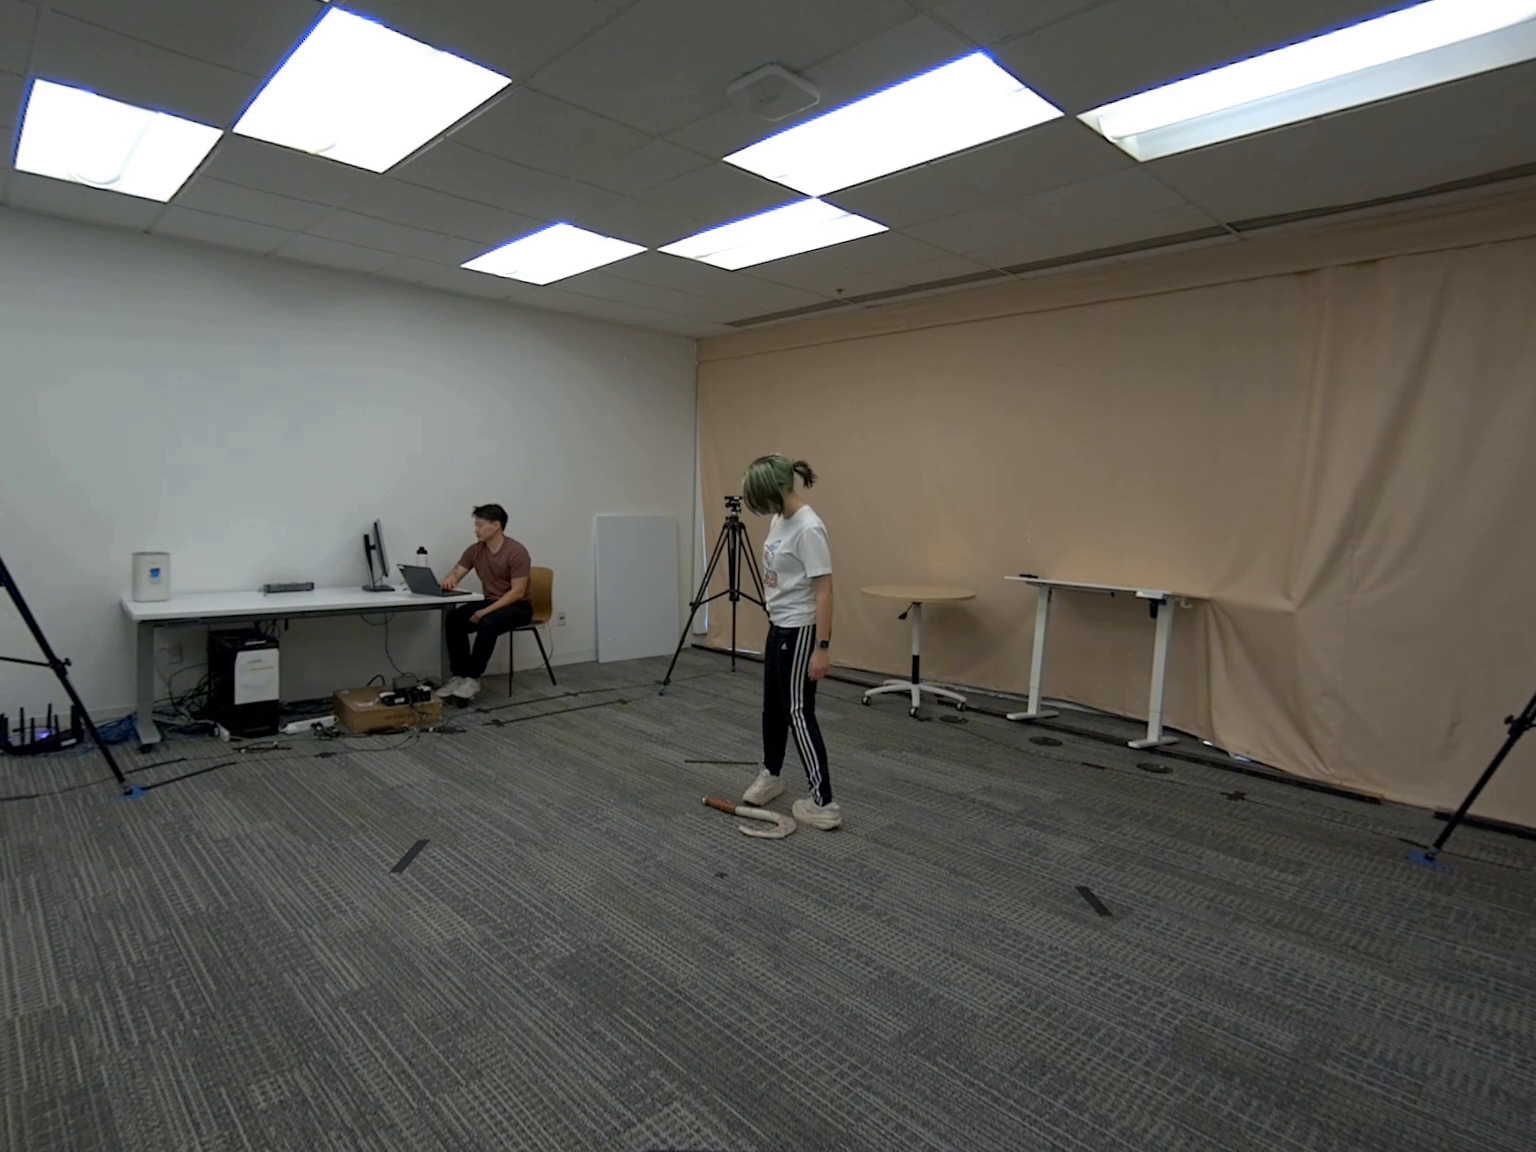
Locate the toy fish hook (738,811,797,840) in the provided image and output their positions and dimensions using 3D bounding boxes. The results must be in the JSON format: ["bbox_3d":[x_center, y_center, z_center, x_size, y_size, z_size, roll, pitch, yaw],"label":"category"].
[{"bbox_3d":[-0.123,1.035,3.630,0.519,0.048,0.220,5,5,36],"label":"toy fish hook"}]
